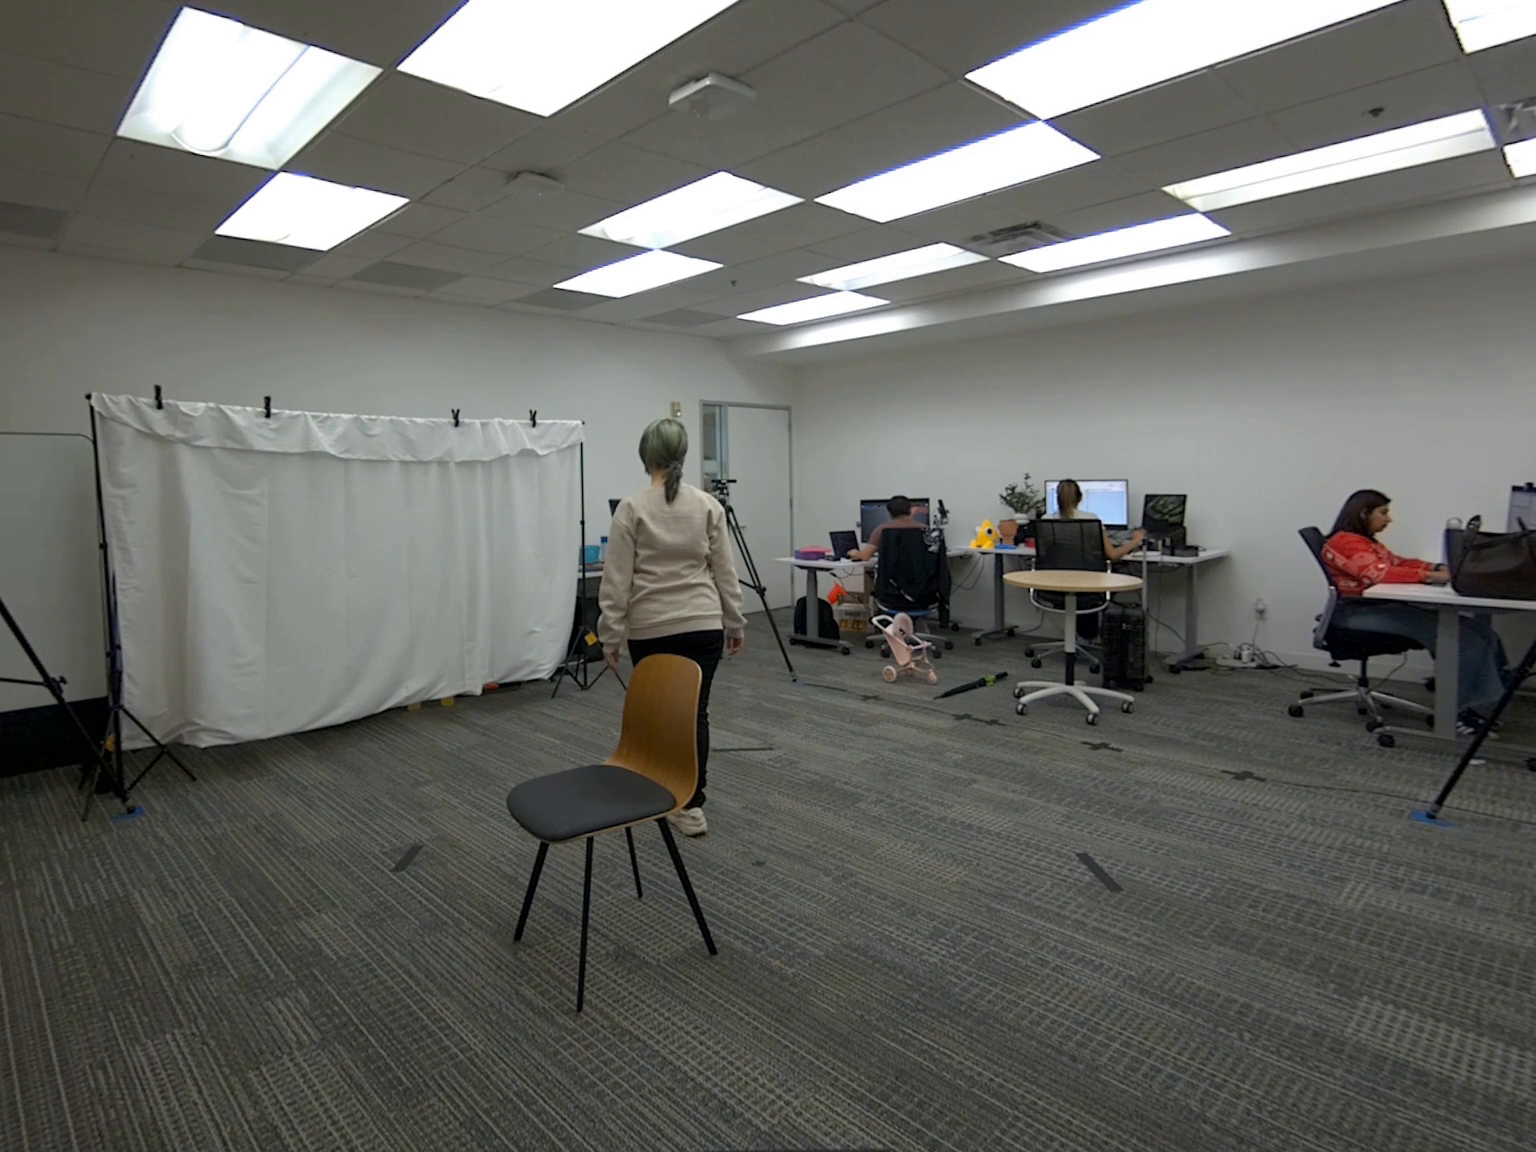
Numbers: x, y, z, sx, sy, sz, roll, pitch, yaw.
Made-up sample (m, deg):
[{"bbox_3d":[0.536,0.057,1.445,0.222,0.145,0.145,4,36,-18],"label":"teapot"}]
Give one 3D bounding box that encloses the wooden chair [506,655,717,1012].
[{"bbox_3d":[-0.481,0.699,2.531,0.508,0.876,0.492,1,3,-37],"label":"wooden chair"}]
